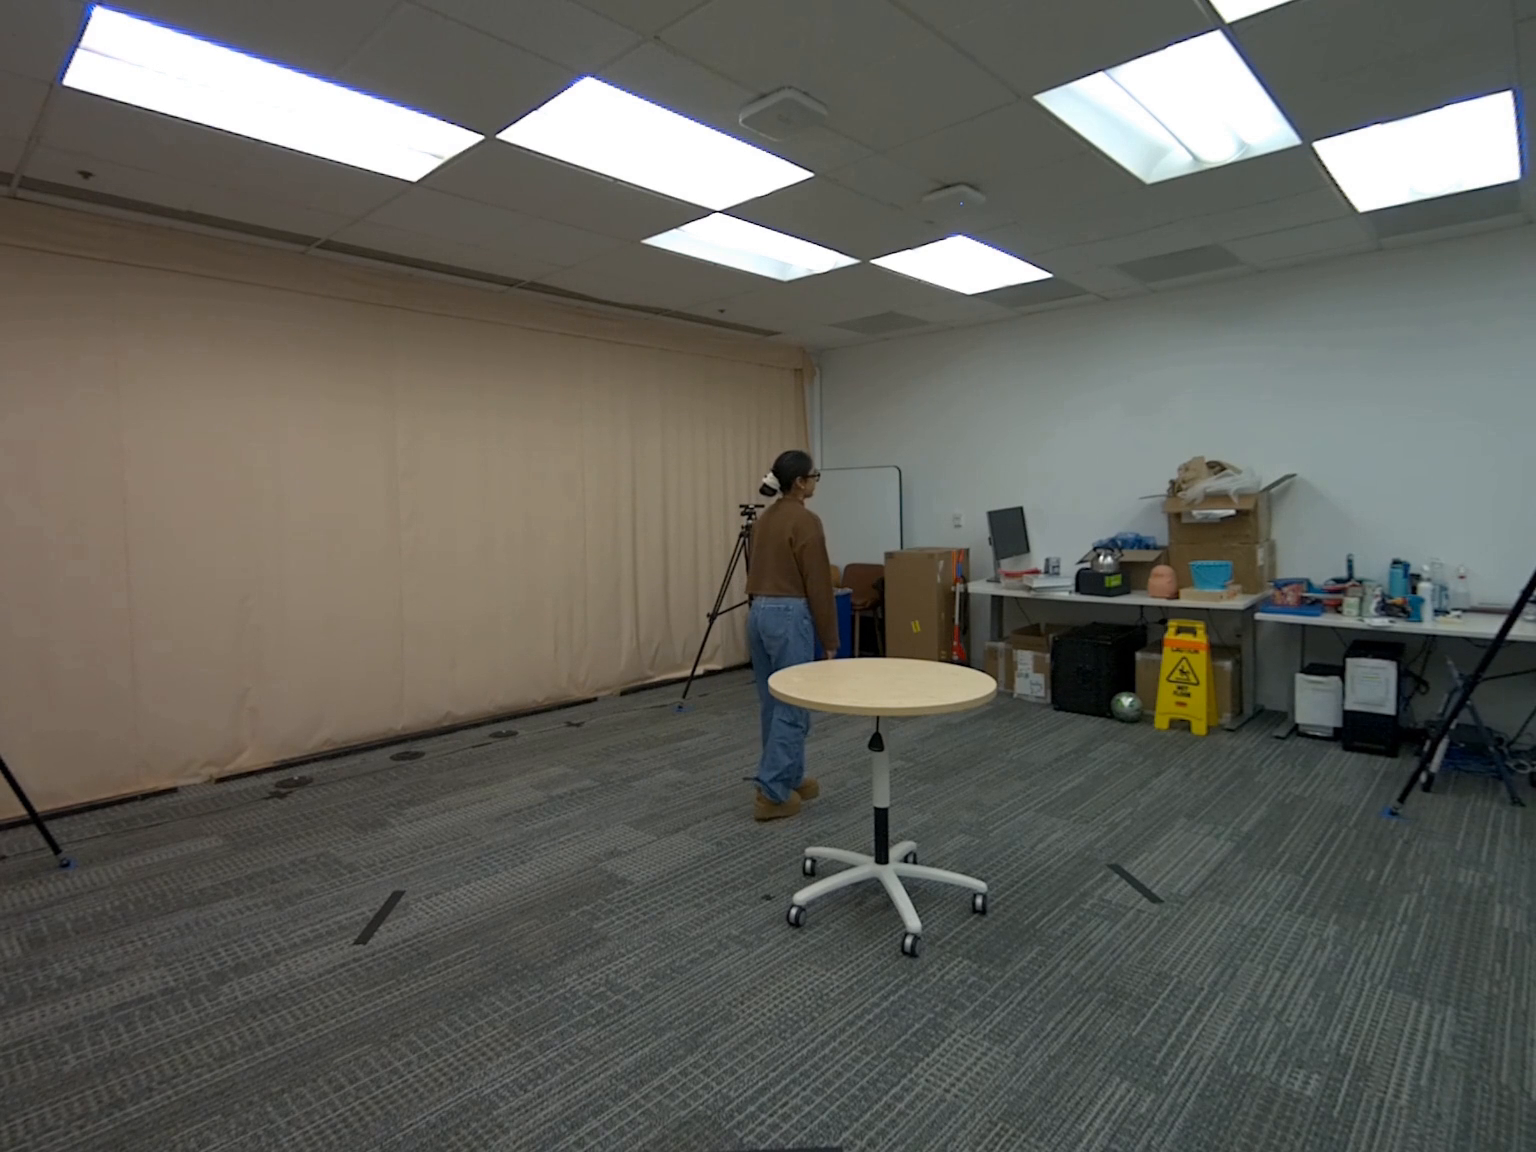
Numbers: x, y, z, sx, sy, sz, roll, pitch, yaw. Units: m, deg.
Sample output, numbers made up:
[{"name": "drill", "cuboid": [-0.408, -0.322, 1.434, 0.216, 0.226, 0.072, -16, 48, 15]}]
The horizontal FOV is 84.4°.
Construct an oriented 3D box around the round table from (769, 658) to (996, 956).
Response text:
[{"name": "round table", "cuboid": [0.400, 0.751, 2.914, 0.763, 0.792, 0.767, -1, 4, -2]}]
